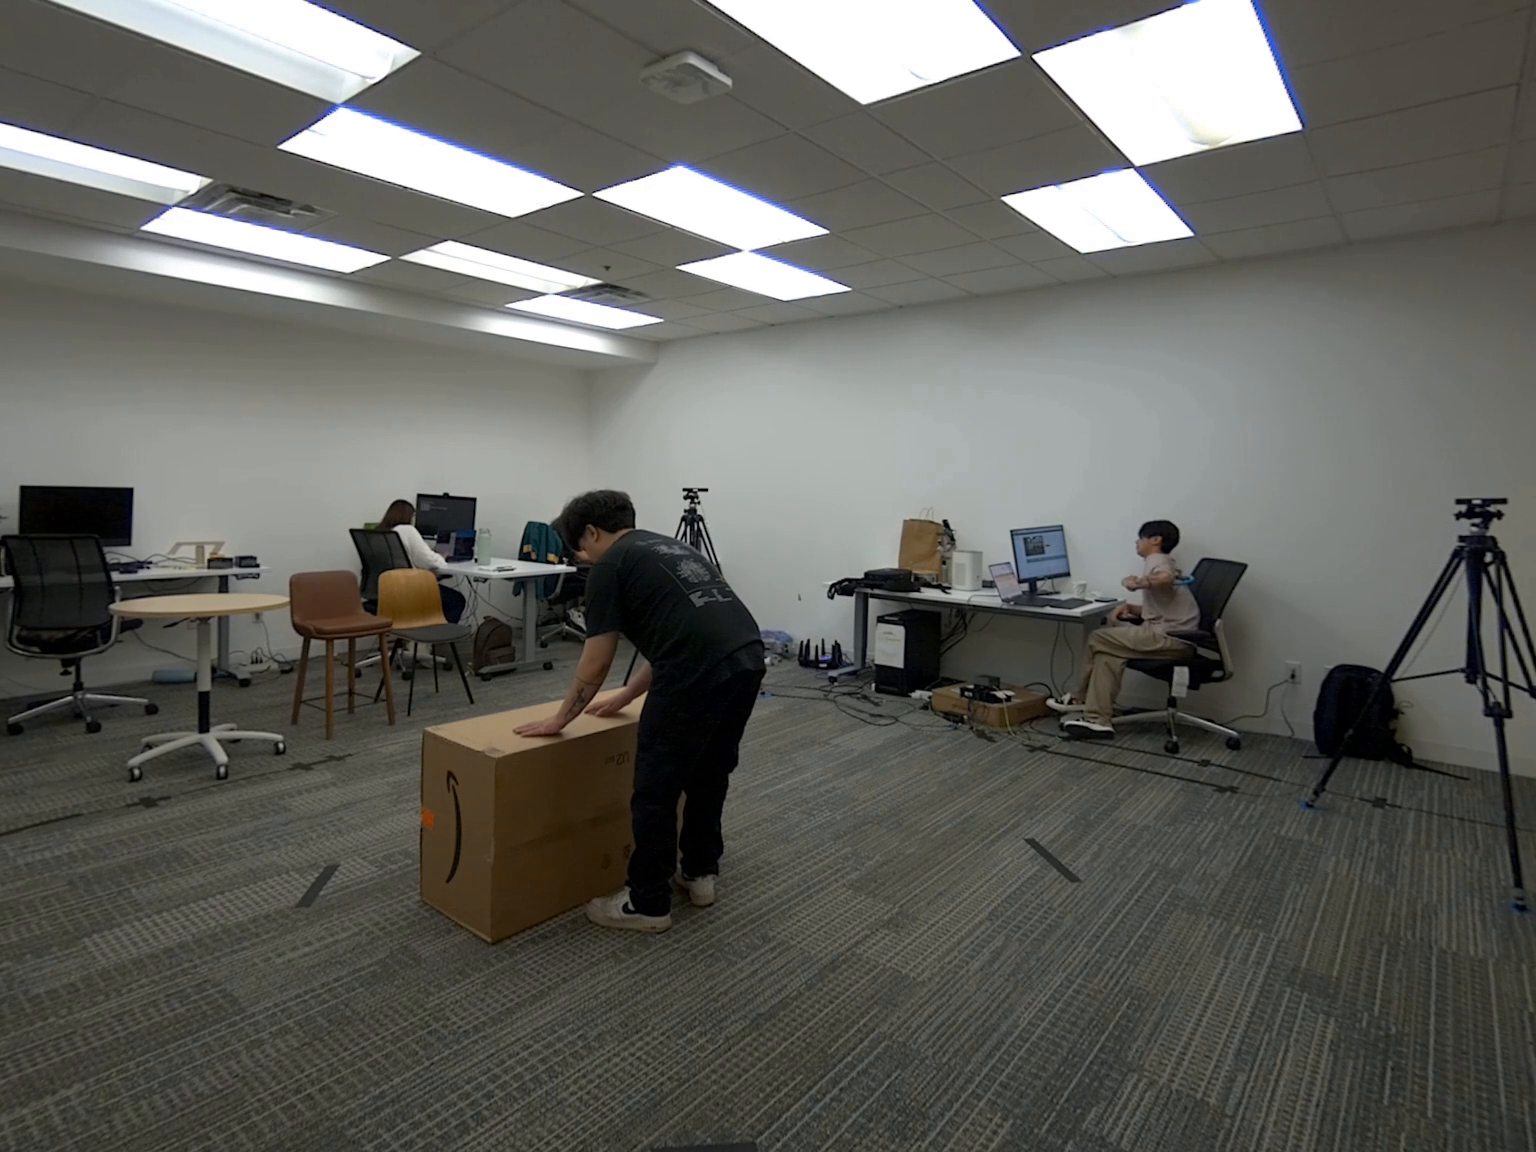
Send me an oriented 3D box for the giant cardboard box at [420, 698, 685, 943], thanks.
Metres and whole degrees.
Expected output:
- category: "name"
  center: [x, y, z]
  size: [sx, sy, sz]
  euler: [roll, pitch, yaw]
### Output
- category: "giant cardboard box"
  center: [-0.690, 0.782, 3.072]
  size: [0.461, 0.583, 0.996]
  euler: [3, 4, 39]
